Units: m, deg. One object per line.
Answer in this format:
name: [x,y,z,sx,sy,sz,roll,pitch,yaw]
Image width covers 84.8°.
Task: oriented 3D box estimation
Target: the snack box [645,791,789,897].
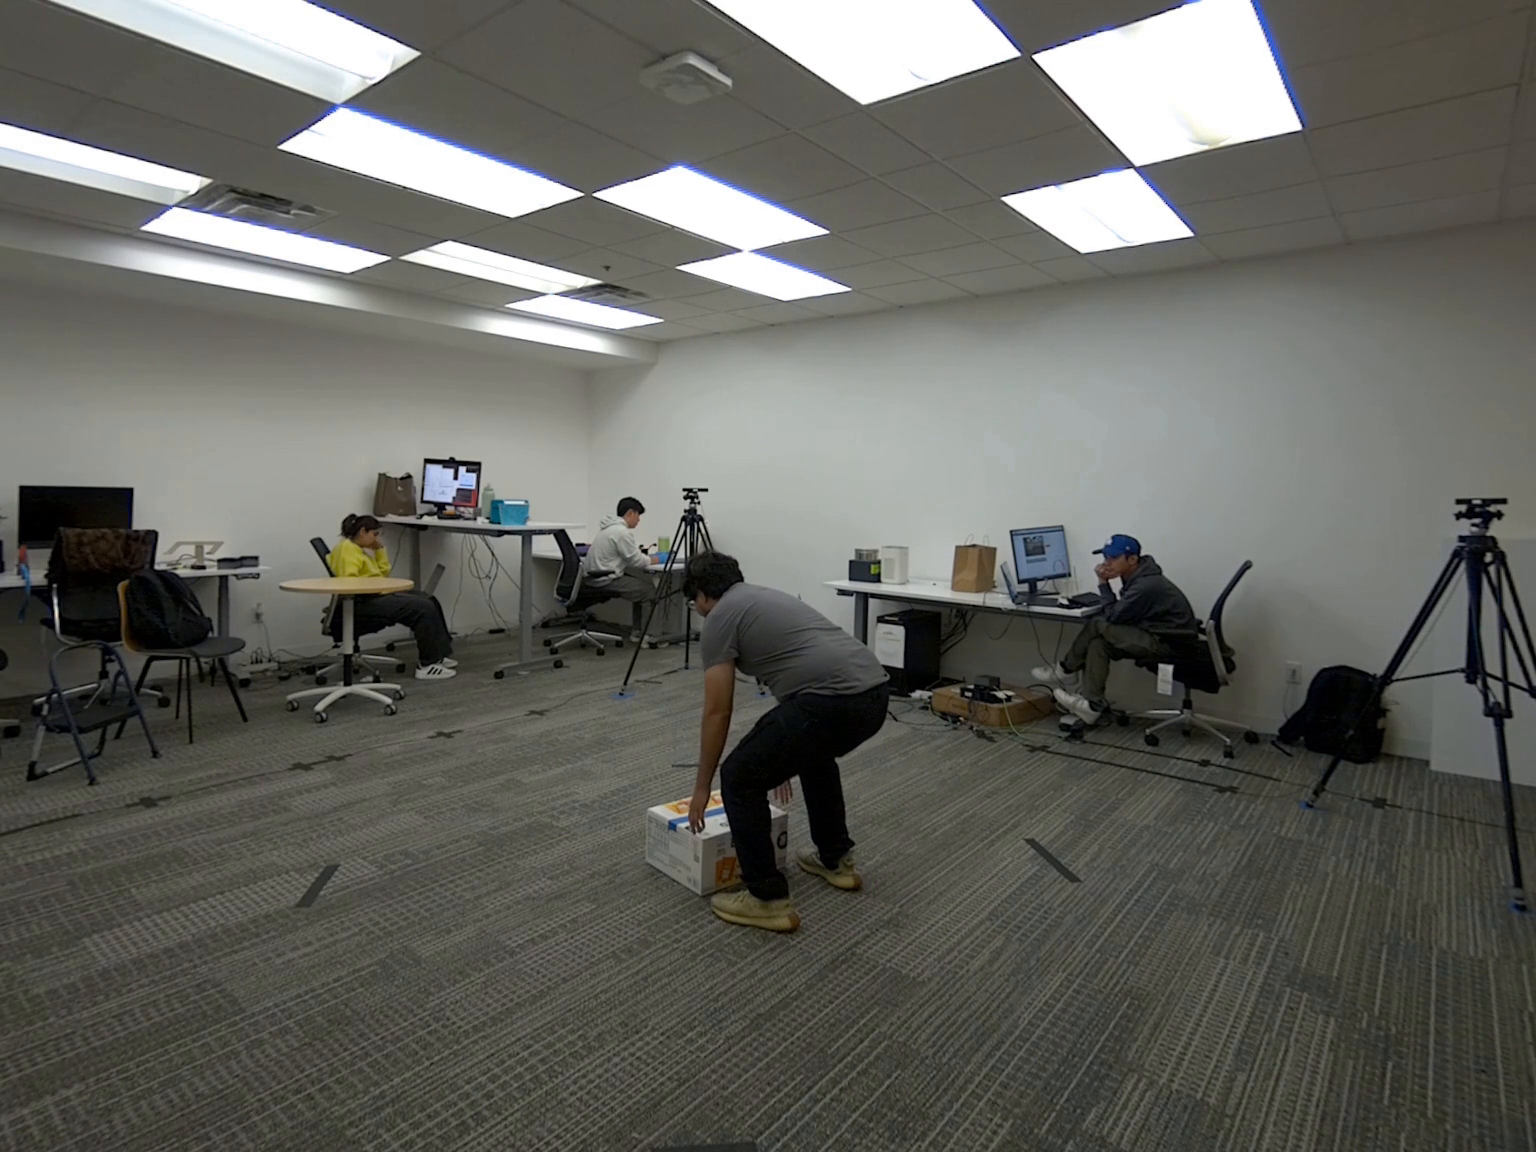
snack box: [-0.200,0.965,3.139,0.393,0.205,0.352,-3,6,-40]
